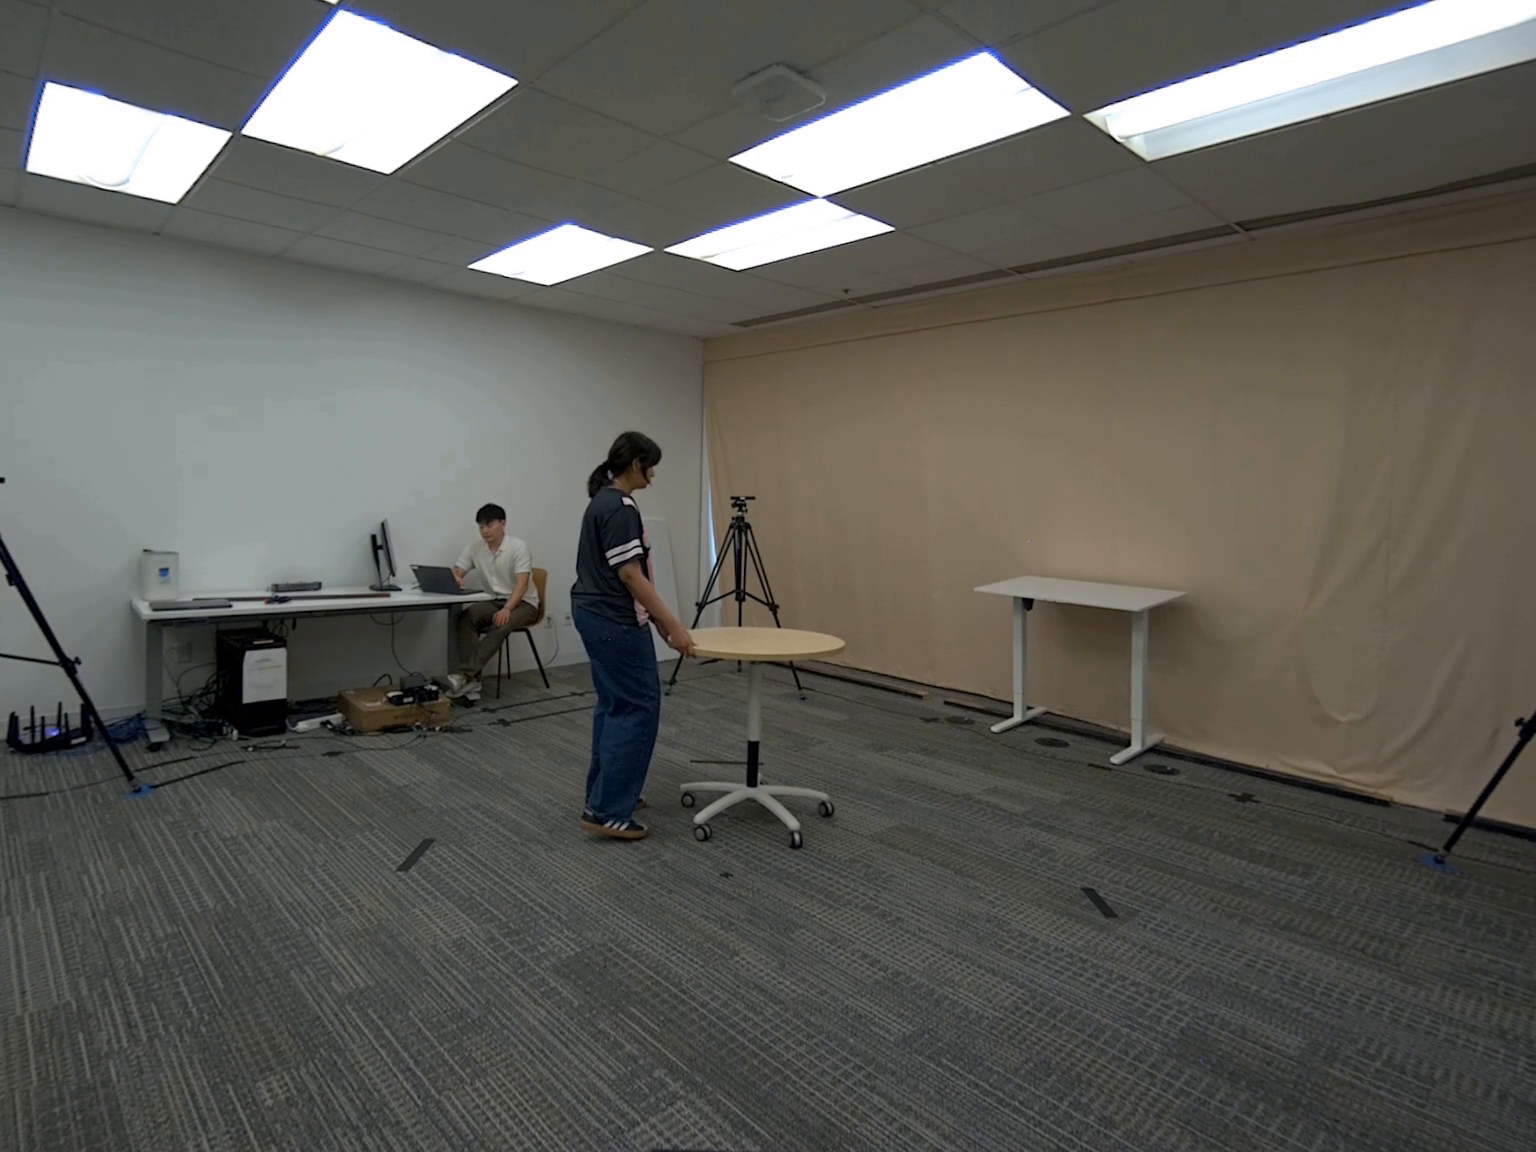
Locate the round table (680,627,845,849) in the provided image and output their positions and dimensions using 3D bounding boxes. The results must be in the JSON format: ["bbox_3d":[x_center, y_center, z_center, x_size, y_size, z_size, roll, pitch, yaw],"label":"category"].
[{"bbox_3d":[-0.069,0.669,3.650,0.763,0.792,0.766,1,3,-1],"label":"round table"}]
